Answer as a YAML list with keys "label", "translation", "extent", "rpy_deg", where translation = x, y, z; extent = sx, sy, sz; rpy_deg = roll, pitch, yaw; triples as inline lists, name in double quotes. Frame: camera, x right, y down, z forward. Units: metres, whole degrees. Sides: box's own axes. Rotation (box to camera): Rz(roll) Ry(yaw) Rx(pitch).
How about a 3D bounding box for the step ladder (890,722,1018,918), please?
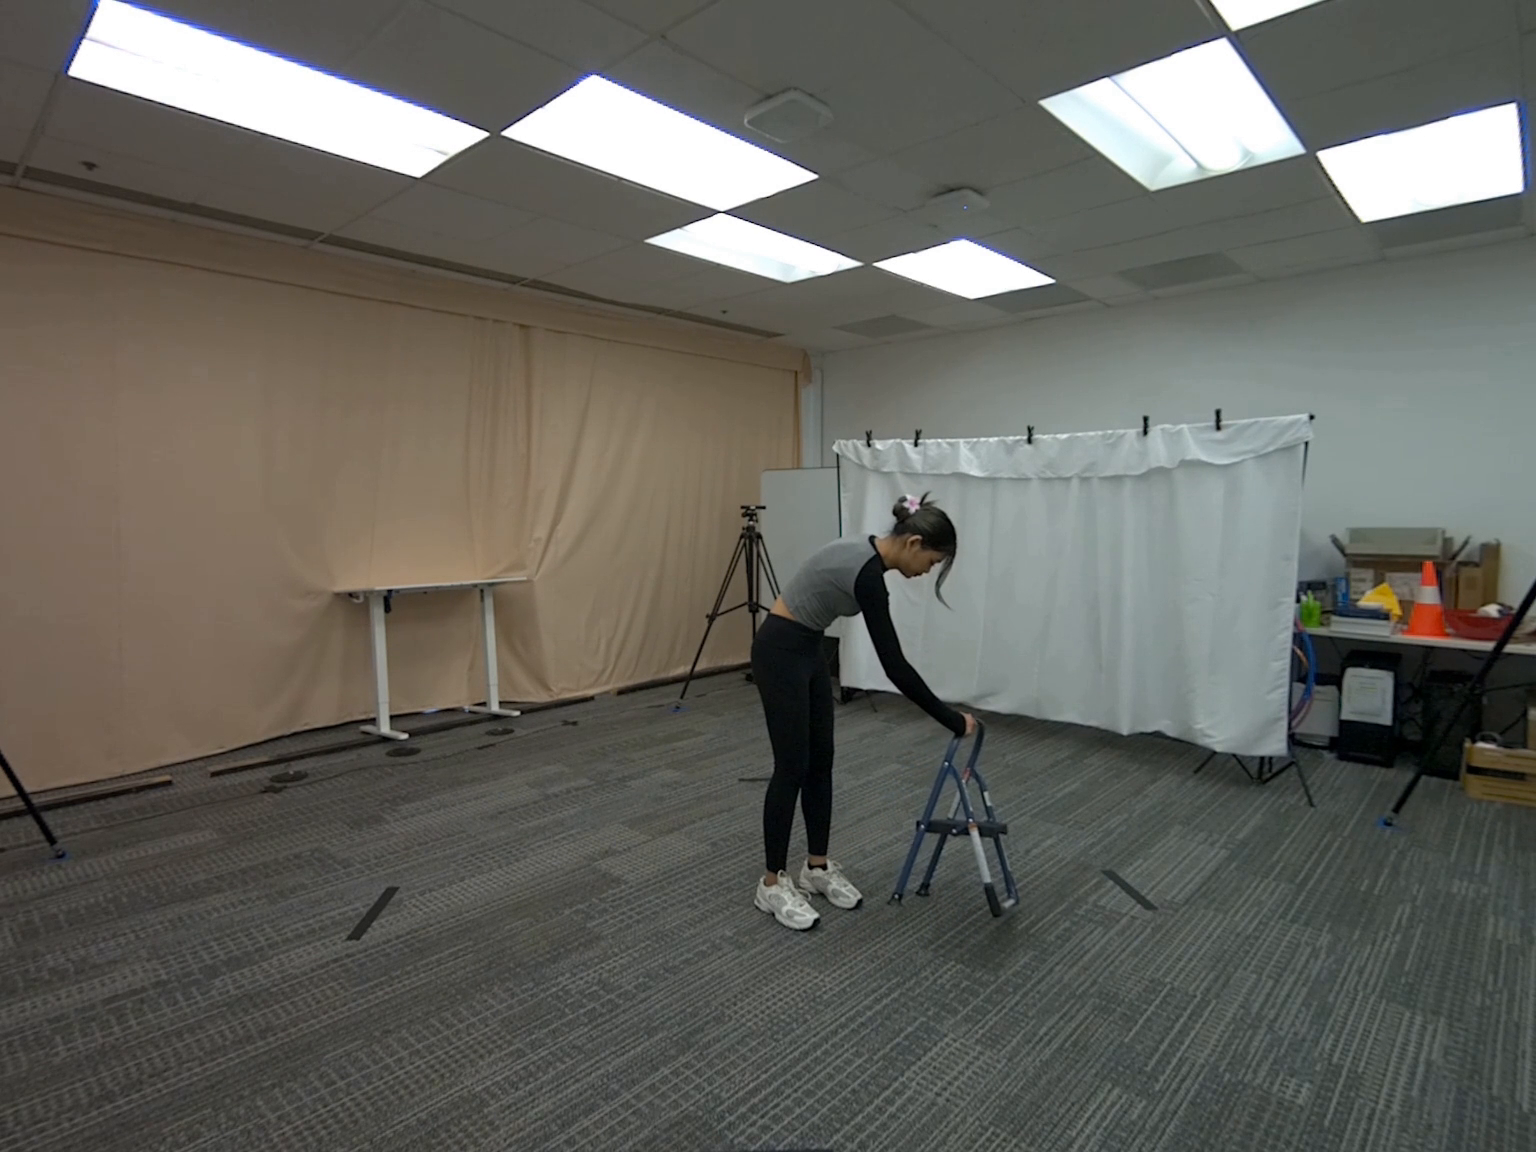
- label: "step ladder"
  translation: [0.642, 0.794, 2.841]
  extent: [0.358, 0.611, 0.417]
  rpy_deg: [-4, -16, 24]
